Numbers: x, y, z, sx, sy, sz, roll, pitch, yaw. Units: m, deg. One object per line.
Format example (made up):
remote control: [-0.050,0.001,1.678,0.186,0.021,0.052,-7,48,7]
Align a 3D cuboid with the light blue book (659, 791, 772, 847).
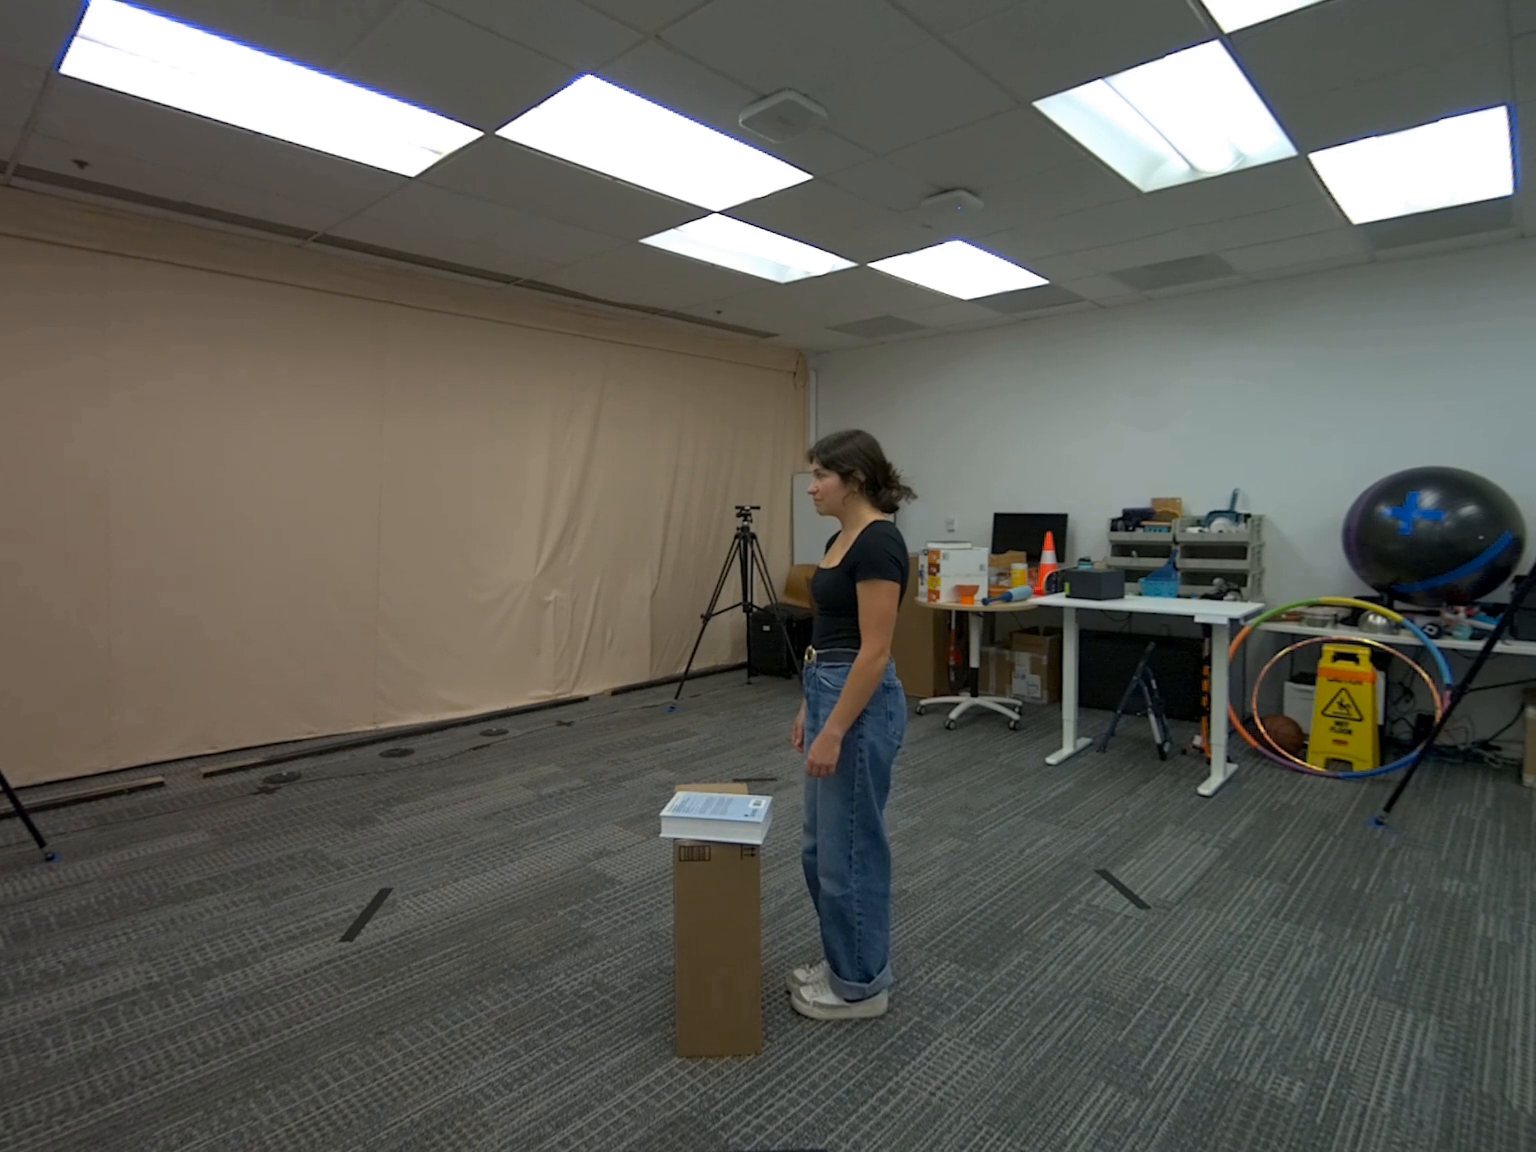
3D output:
light blue book: [-0.121,0.622,2.173,0.264,0.059,0.189,0,4,11]
